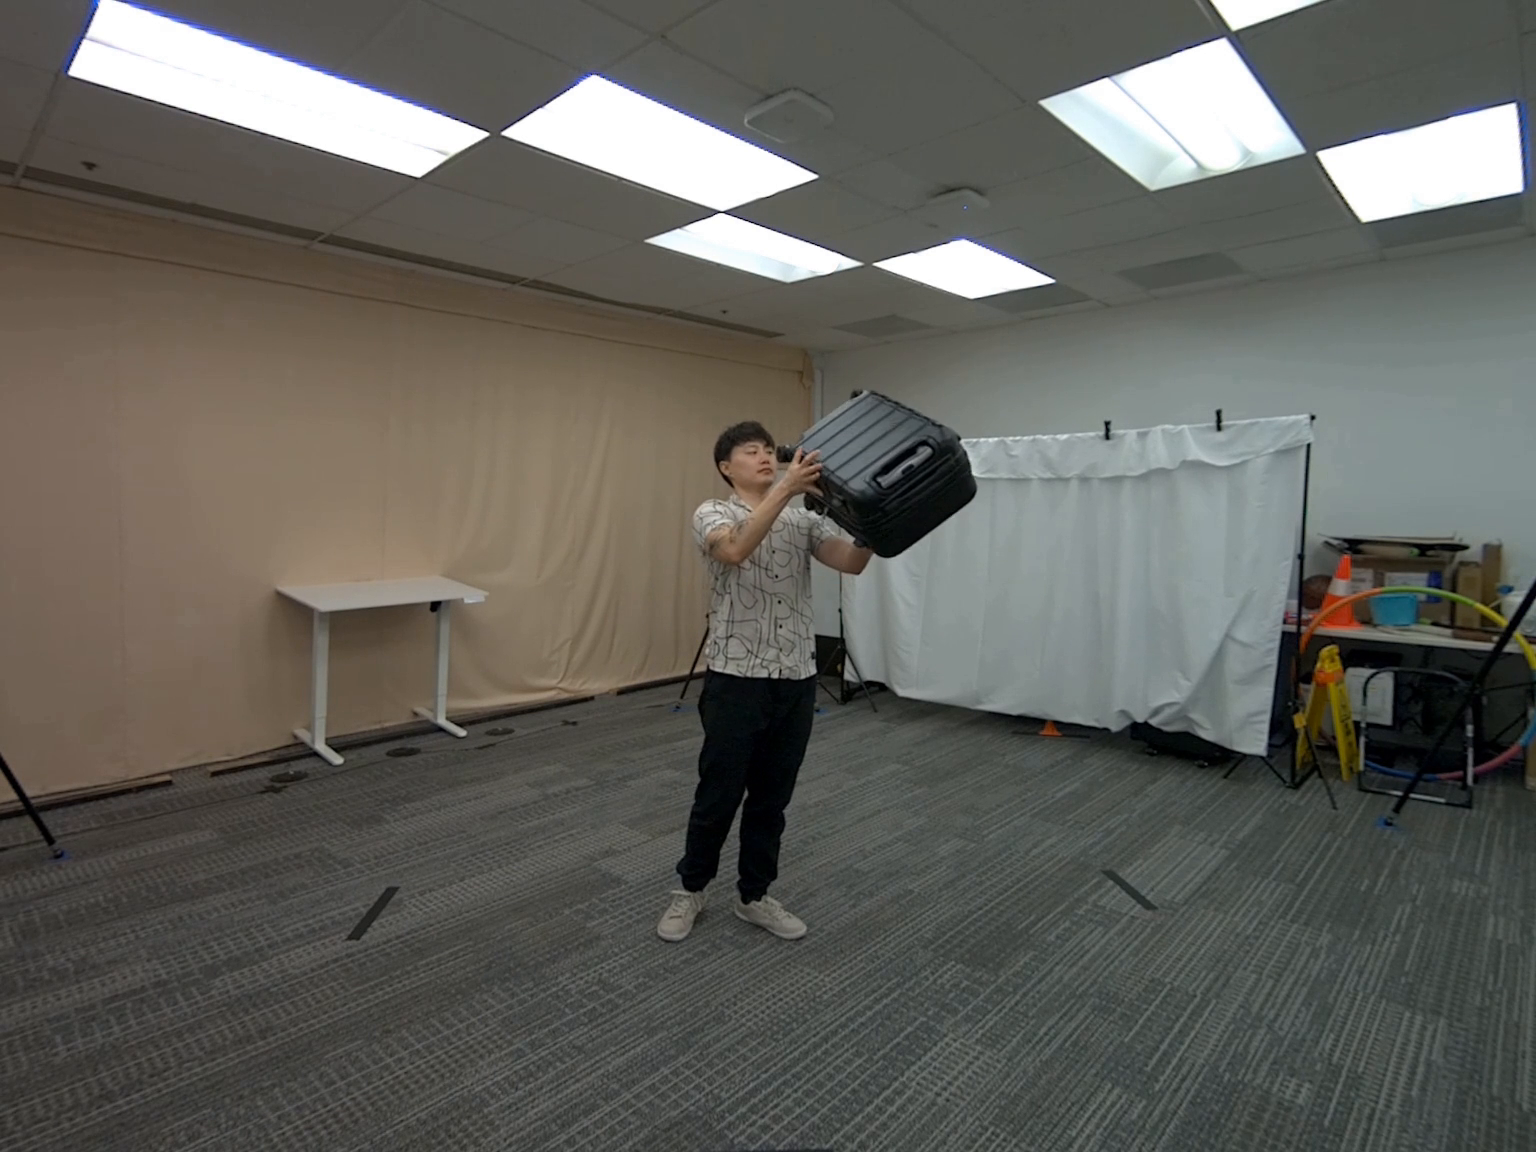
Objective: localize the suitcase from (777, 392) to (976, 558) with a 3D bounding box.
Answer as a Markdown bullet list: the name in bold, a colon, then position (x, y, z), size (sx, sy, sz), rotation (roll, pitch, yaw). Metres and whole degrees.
- **suitcase**: position (0.318, -0.303, 2.410), size (0.375, 0.241, 0.567), rotation (-37, 32, -4)
